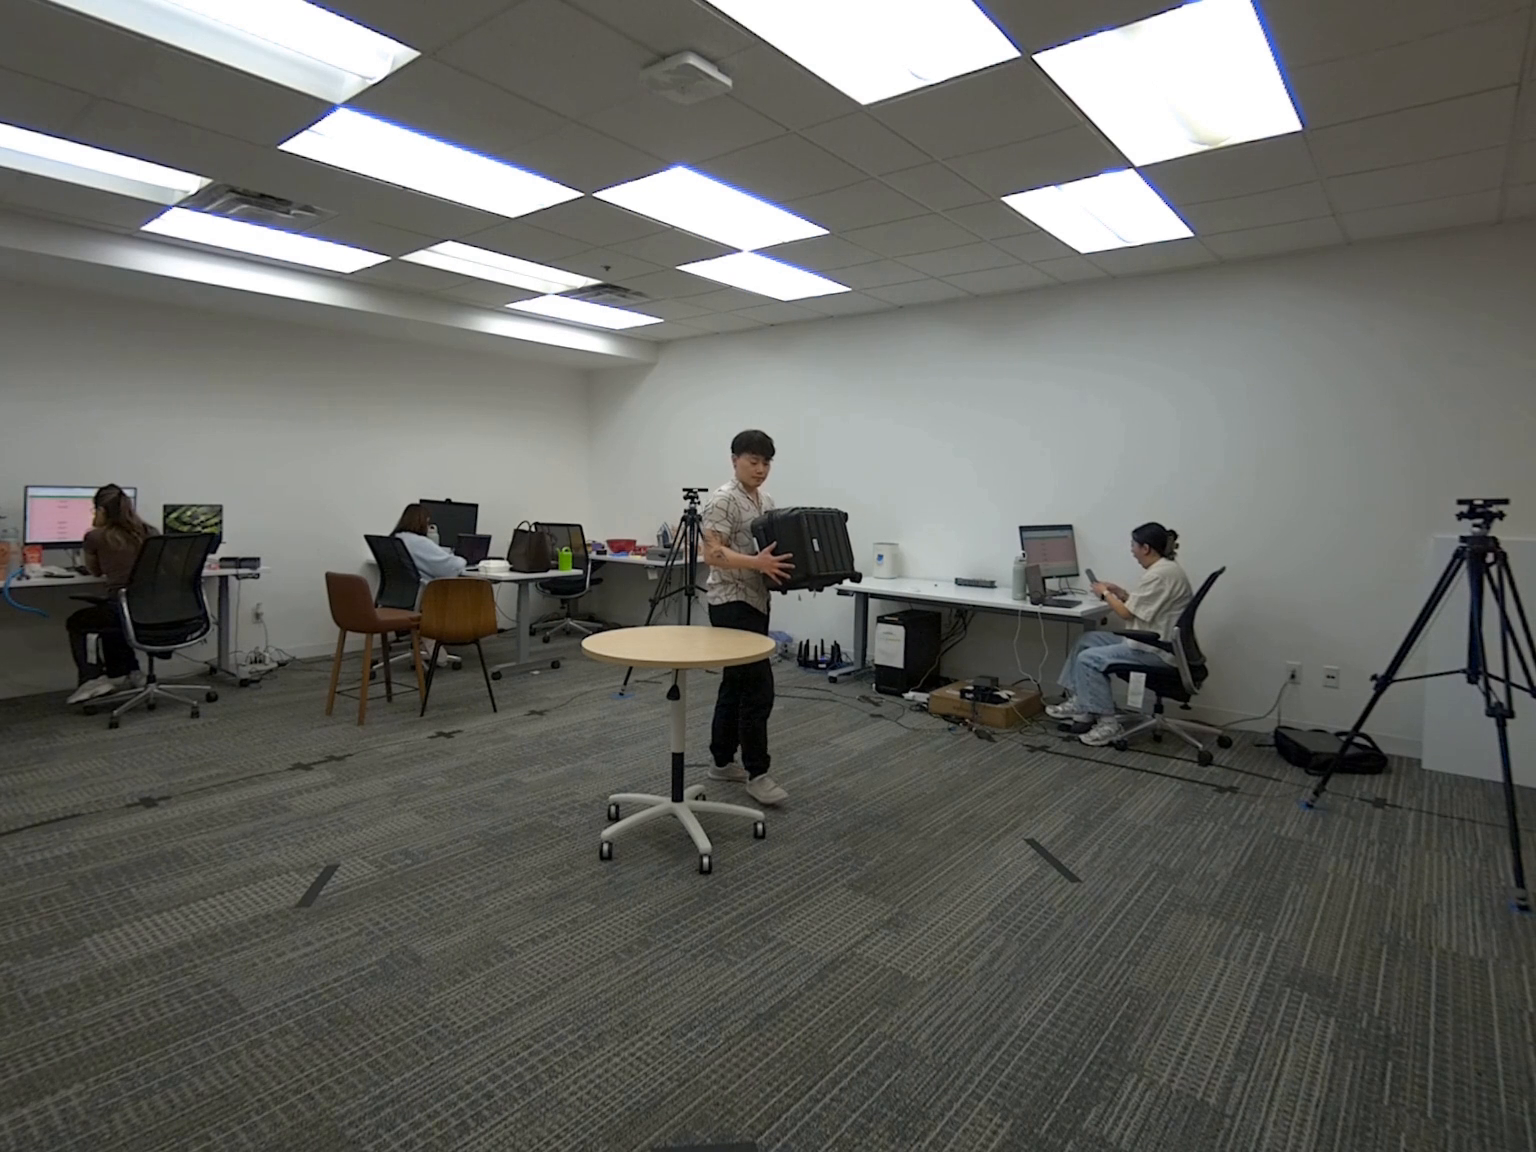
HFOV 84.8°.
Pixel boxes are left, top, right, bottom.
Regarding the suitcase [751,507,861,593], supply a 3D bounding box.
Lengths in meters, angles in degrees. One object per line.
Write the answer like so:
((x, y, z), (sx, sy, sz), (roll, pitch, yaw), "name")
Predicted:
((0.164, -0.134, 3.875), (0.253, 0.379, 0.533), (-16, -8, 33), "suitcase")
